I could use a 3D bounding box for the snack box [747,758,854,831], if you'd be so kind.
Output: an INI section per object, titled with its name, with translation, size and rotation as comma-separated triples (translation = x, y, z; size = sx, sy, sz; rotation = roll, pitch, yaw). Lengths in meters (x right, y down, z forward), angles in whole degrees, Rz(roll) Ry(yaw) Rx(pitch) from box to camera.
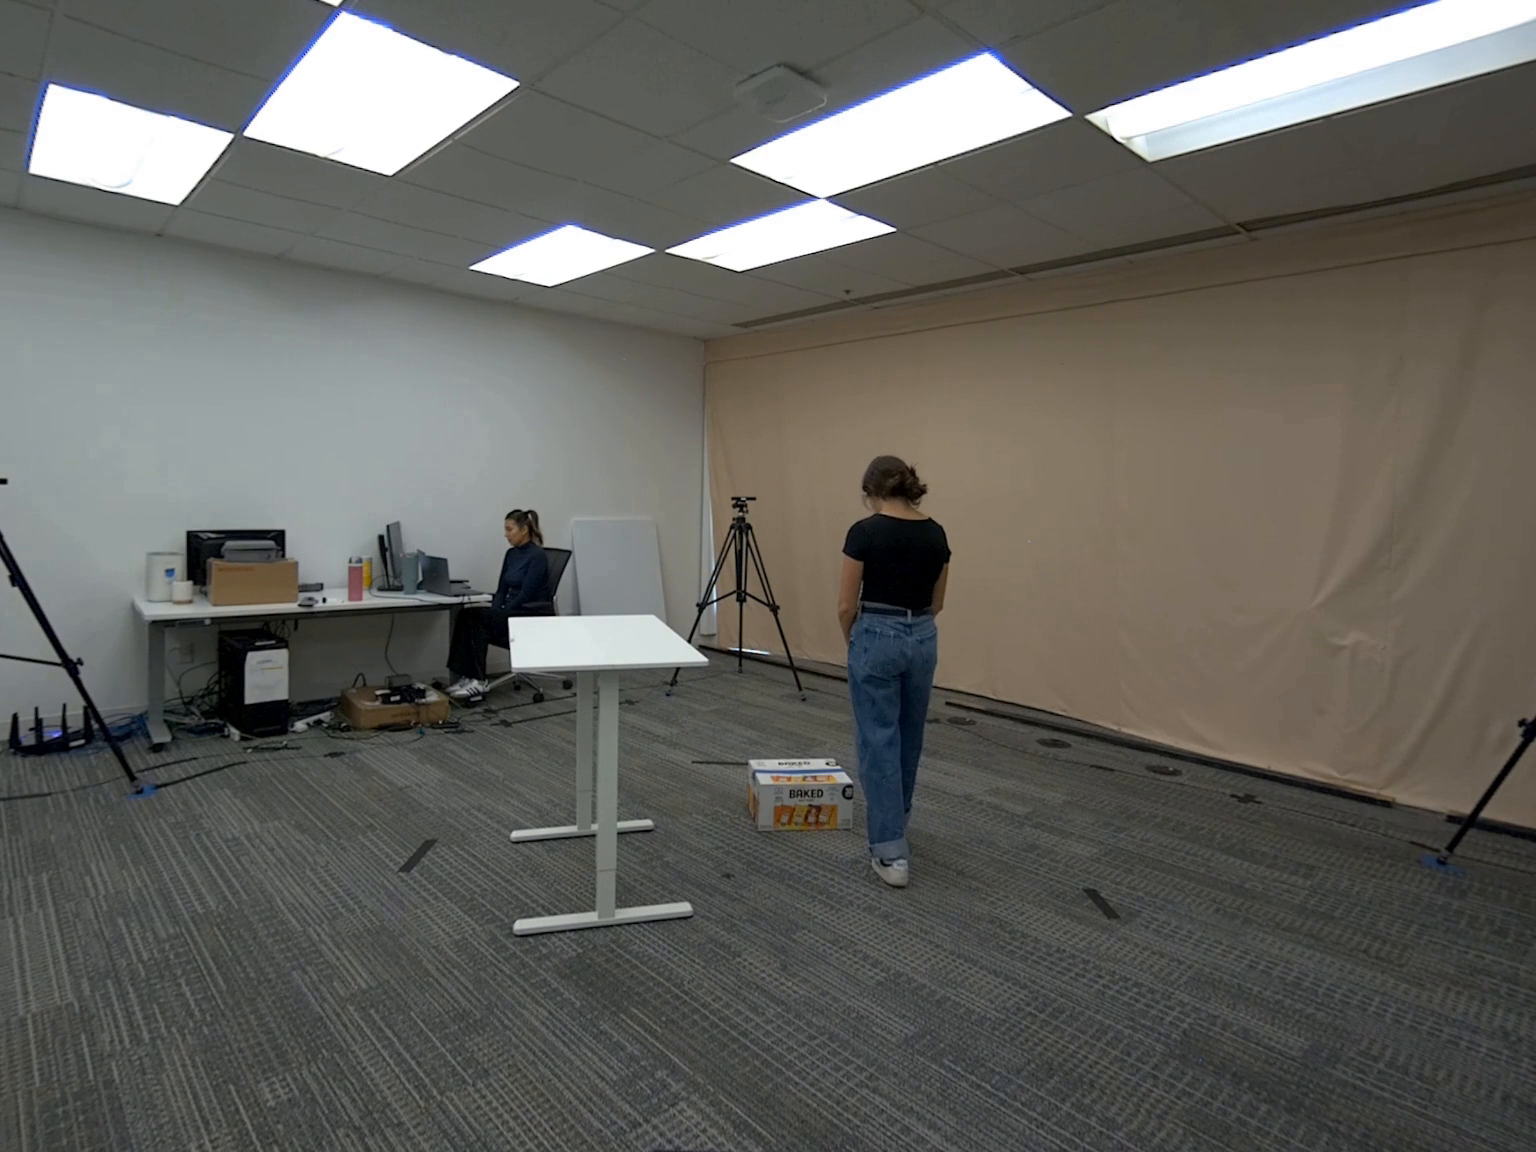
[snack box]
translation = 0.124, 0.960, 3.719
size = 0.402, 0.205, 0.343
rotation = 1, 4, -8
